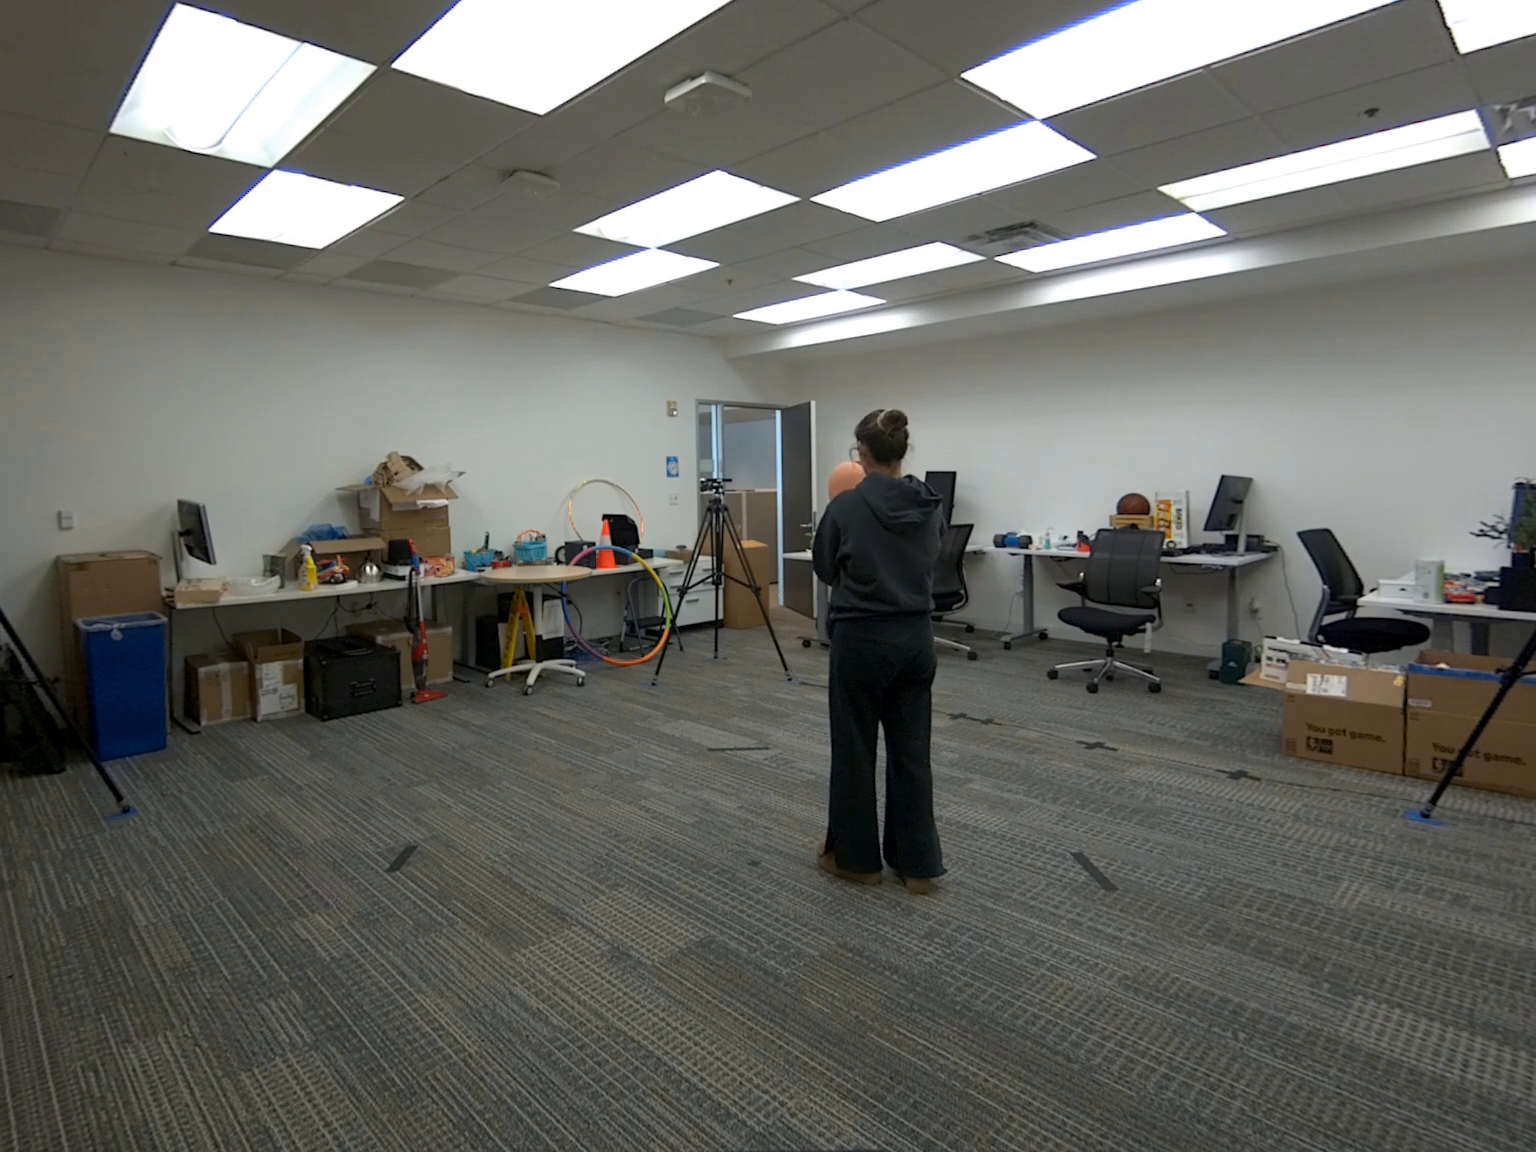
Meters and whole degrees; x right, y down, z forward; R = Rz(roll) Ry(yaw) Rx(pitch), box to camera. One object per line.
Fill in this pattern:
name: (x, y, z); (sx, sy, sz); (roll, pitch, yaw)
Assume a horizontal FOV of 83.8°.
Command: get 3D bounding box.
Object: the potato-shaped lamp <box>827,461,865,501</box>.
potato-shaped lamp: (0.330, -0.333, 3.193); (0.169, 0.196, 0.168); (-6, 11, -13)
